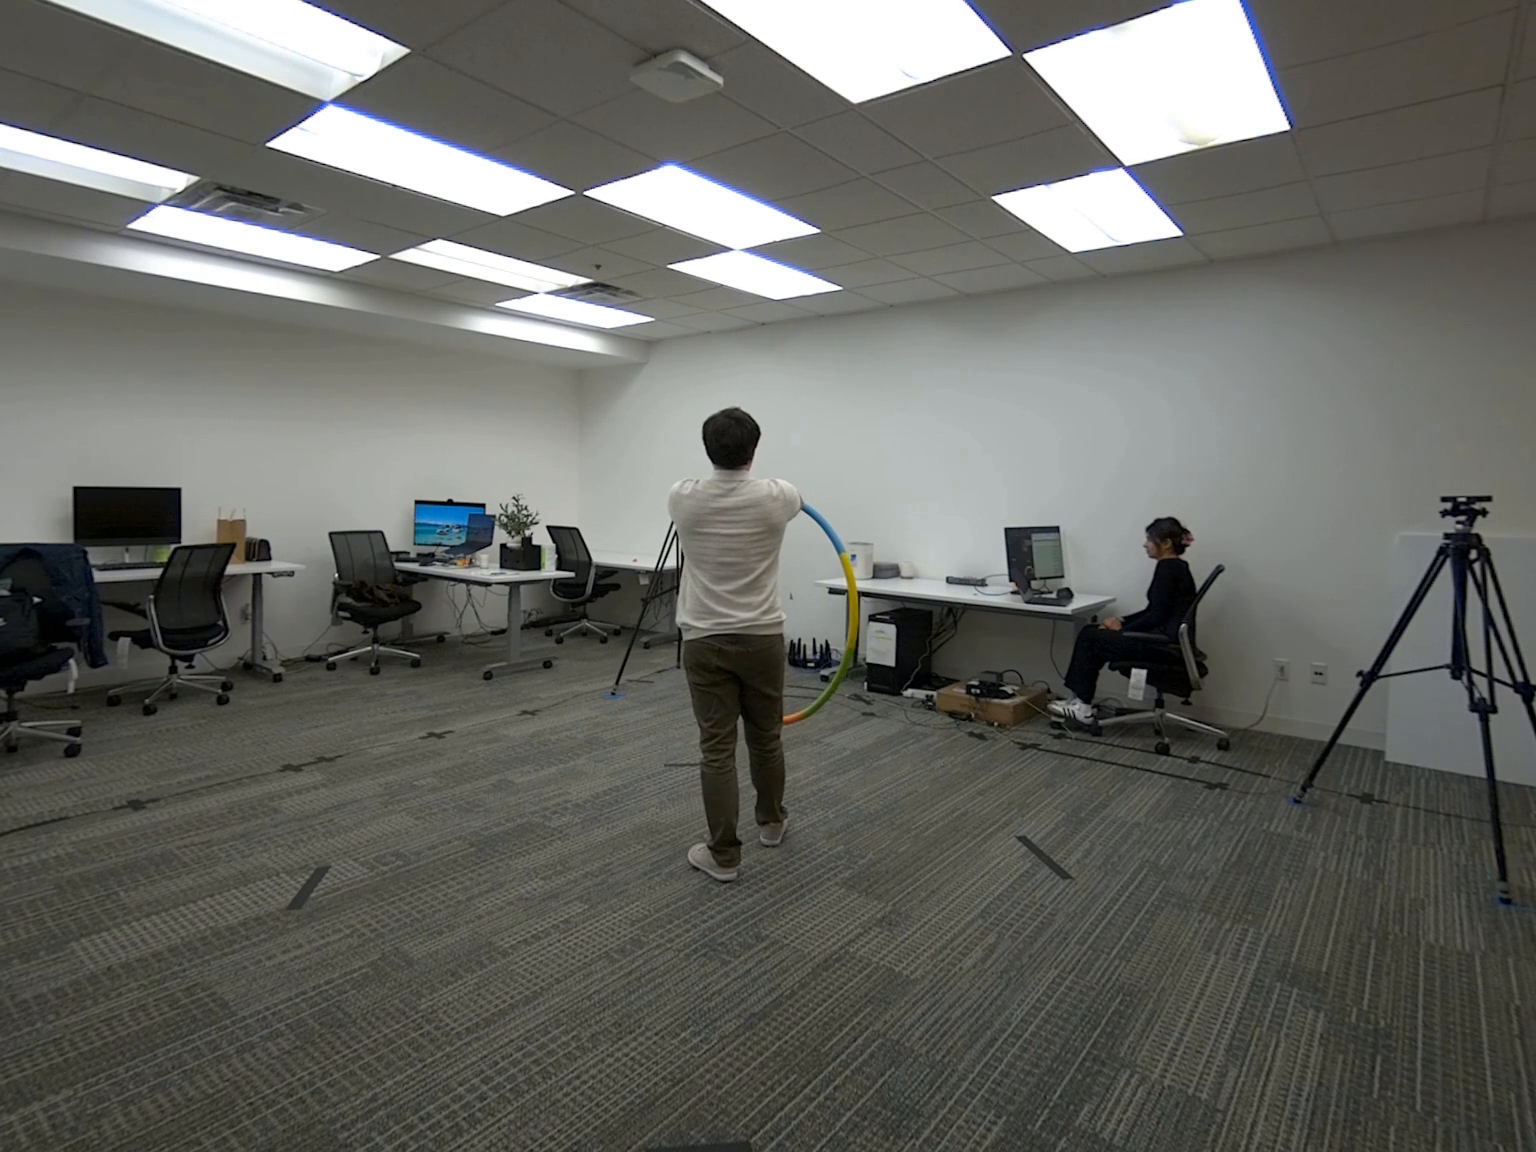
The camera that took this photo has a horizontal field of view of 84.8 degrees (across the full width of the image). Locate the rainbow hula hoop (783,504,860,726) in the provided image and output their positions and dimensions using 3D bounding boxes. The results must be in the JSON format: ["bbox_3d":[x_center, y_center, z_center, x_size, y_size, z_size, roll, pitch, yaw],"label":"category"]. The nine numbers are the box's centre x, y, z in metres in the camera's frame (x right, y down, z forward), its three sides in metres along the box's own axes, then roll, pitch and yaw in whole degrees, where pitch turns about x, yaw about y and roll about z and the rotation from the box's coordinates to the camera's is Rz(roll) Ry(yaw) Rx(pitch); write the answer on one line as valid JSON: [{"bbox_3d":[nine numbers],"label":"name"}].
[{"bbox_3d":[-0.024,0.129,3.663,1.012,0.977,0.034,5,2,44],"label":"rainbow hula hoop"}]
